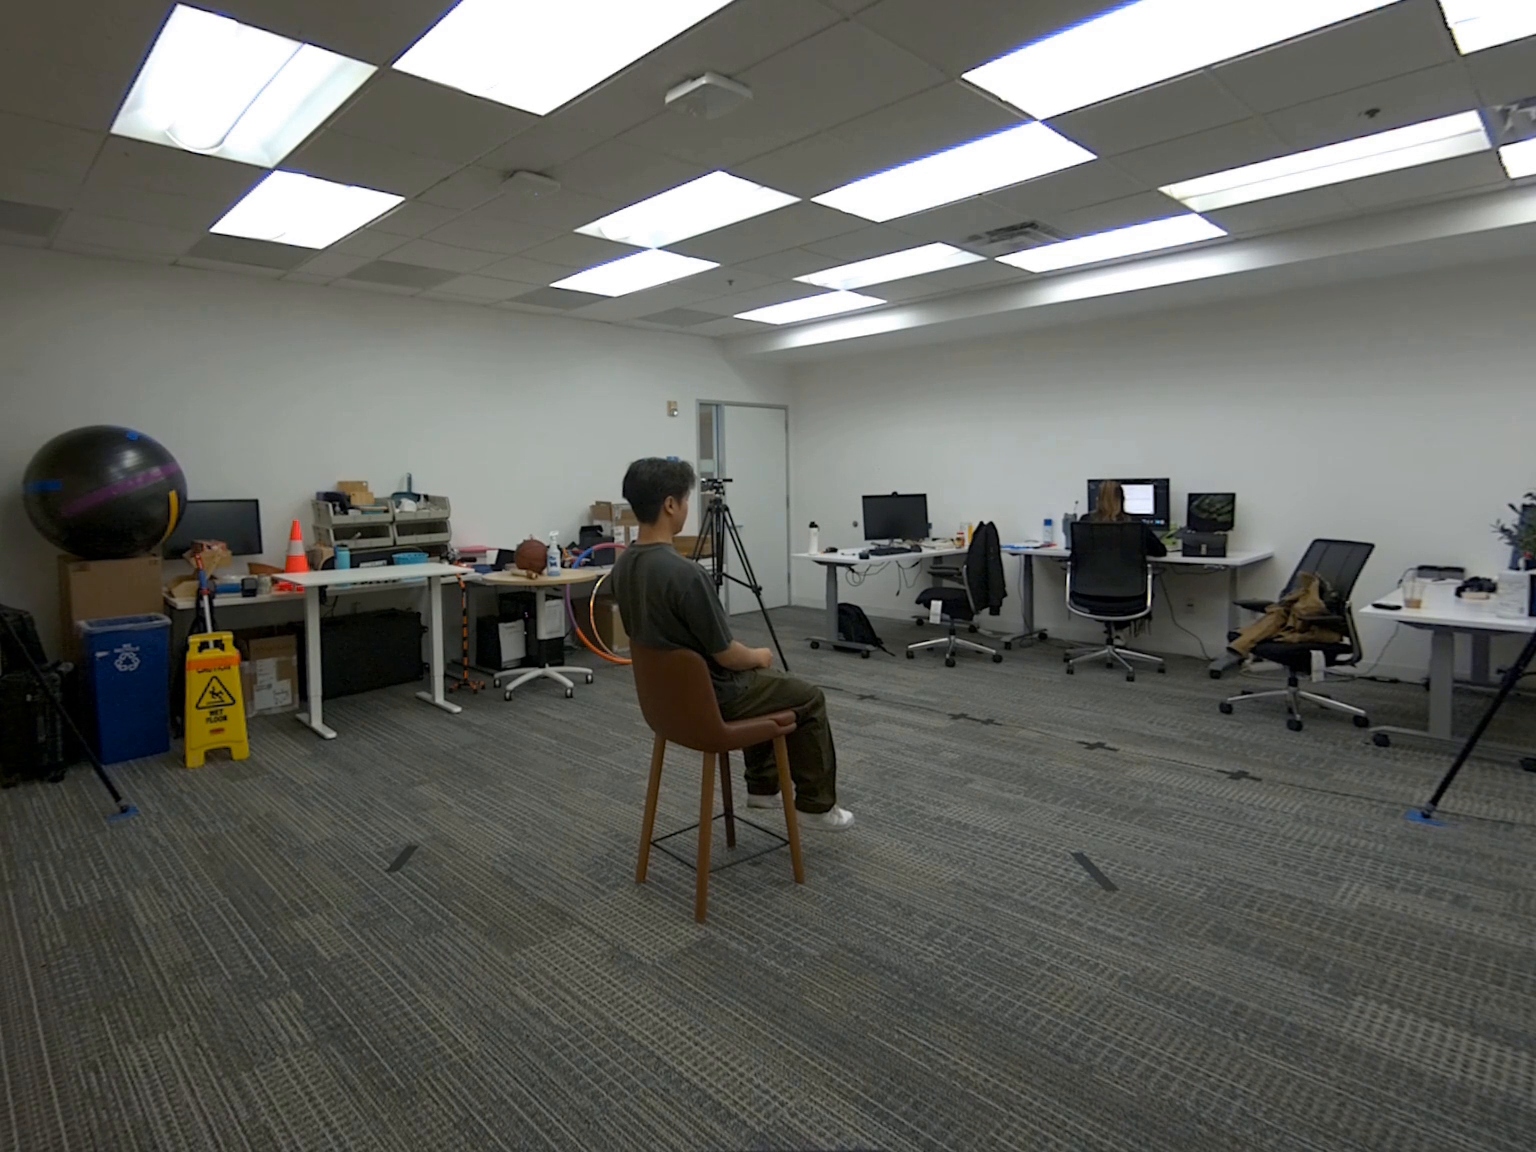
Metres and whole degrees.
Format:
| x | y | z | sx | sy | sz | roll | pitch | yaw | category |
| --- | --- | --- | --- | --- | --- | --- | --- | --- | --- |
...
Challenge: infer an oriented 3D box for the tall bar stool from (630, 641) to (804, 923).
| x | y | z | sx | sy | sz | roll | pitch | yaw | category |
| --- | --- | --- | --- | --- | --- | --- | --- | --- | --- |
| -0.187 | 0.634 | 2.933 | 0.456 | 0.885 | 0.470 | -7 | 8 | -40 | tall bar stool |
